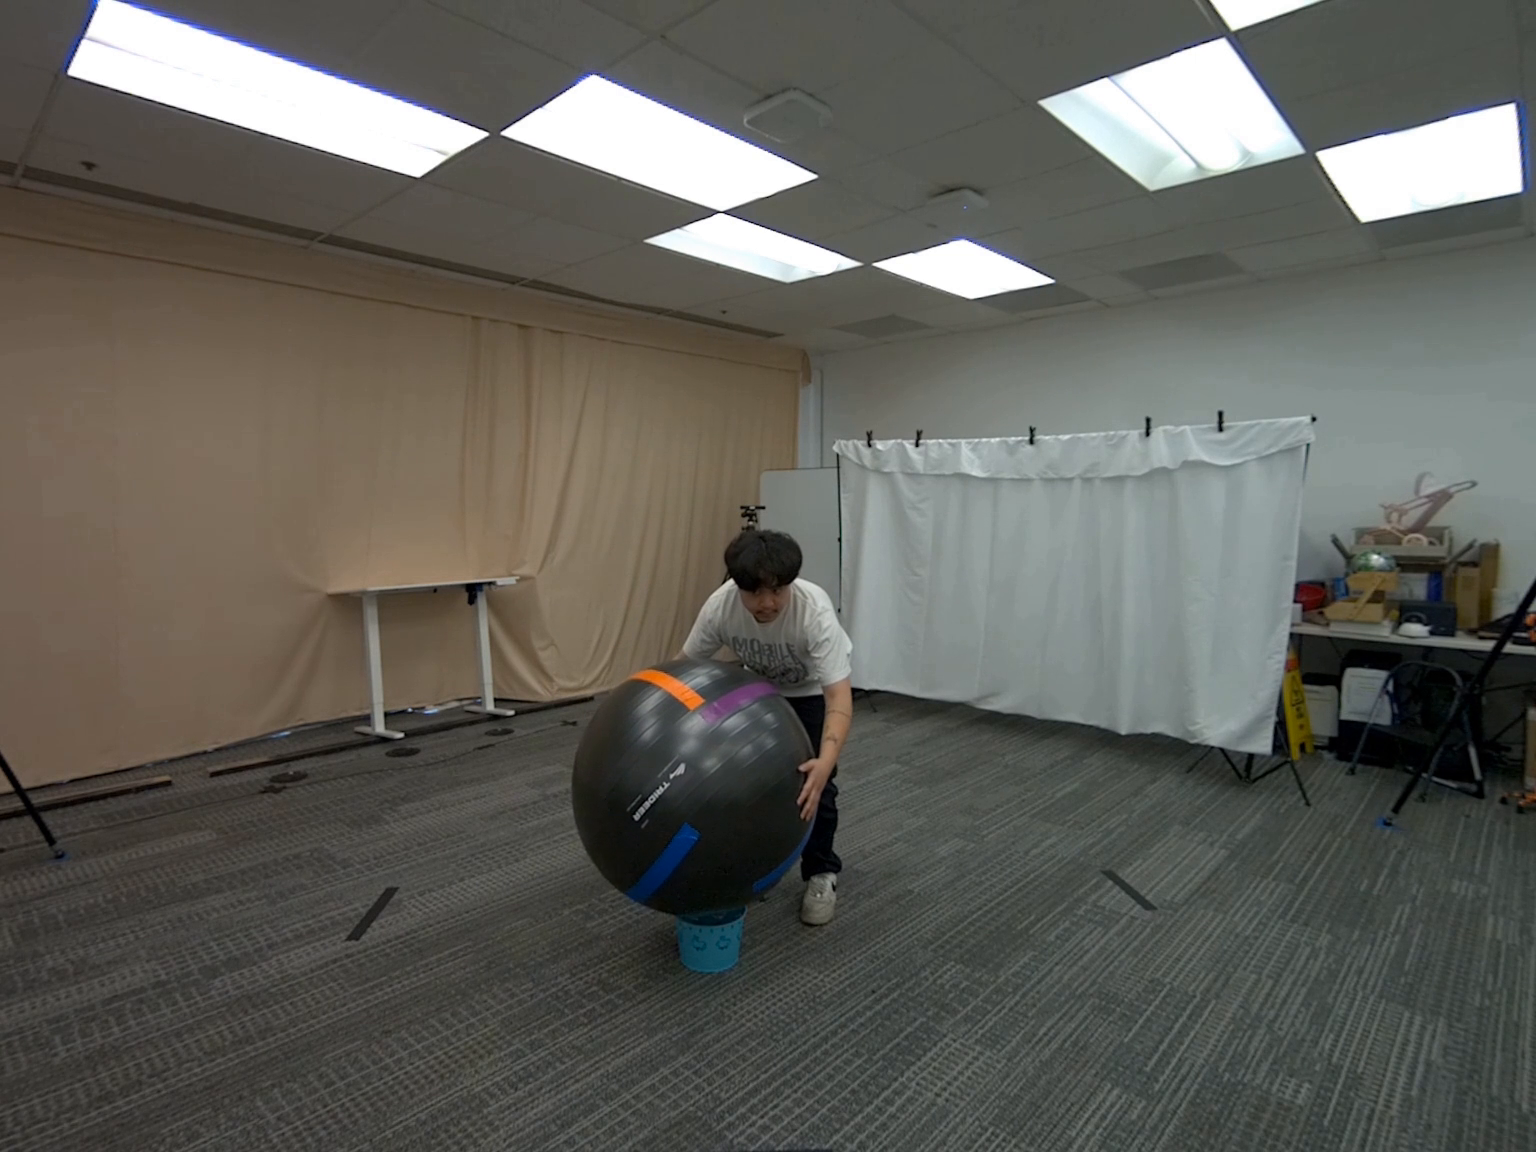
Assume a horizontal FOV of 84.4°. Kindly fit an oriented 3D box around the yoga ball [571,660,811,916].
[{"bbox_3d":[-0.235,0.642,2.586,0.757,0.756,0.760,0,4,-2],"label":"yoga ball"}]
